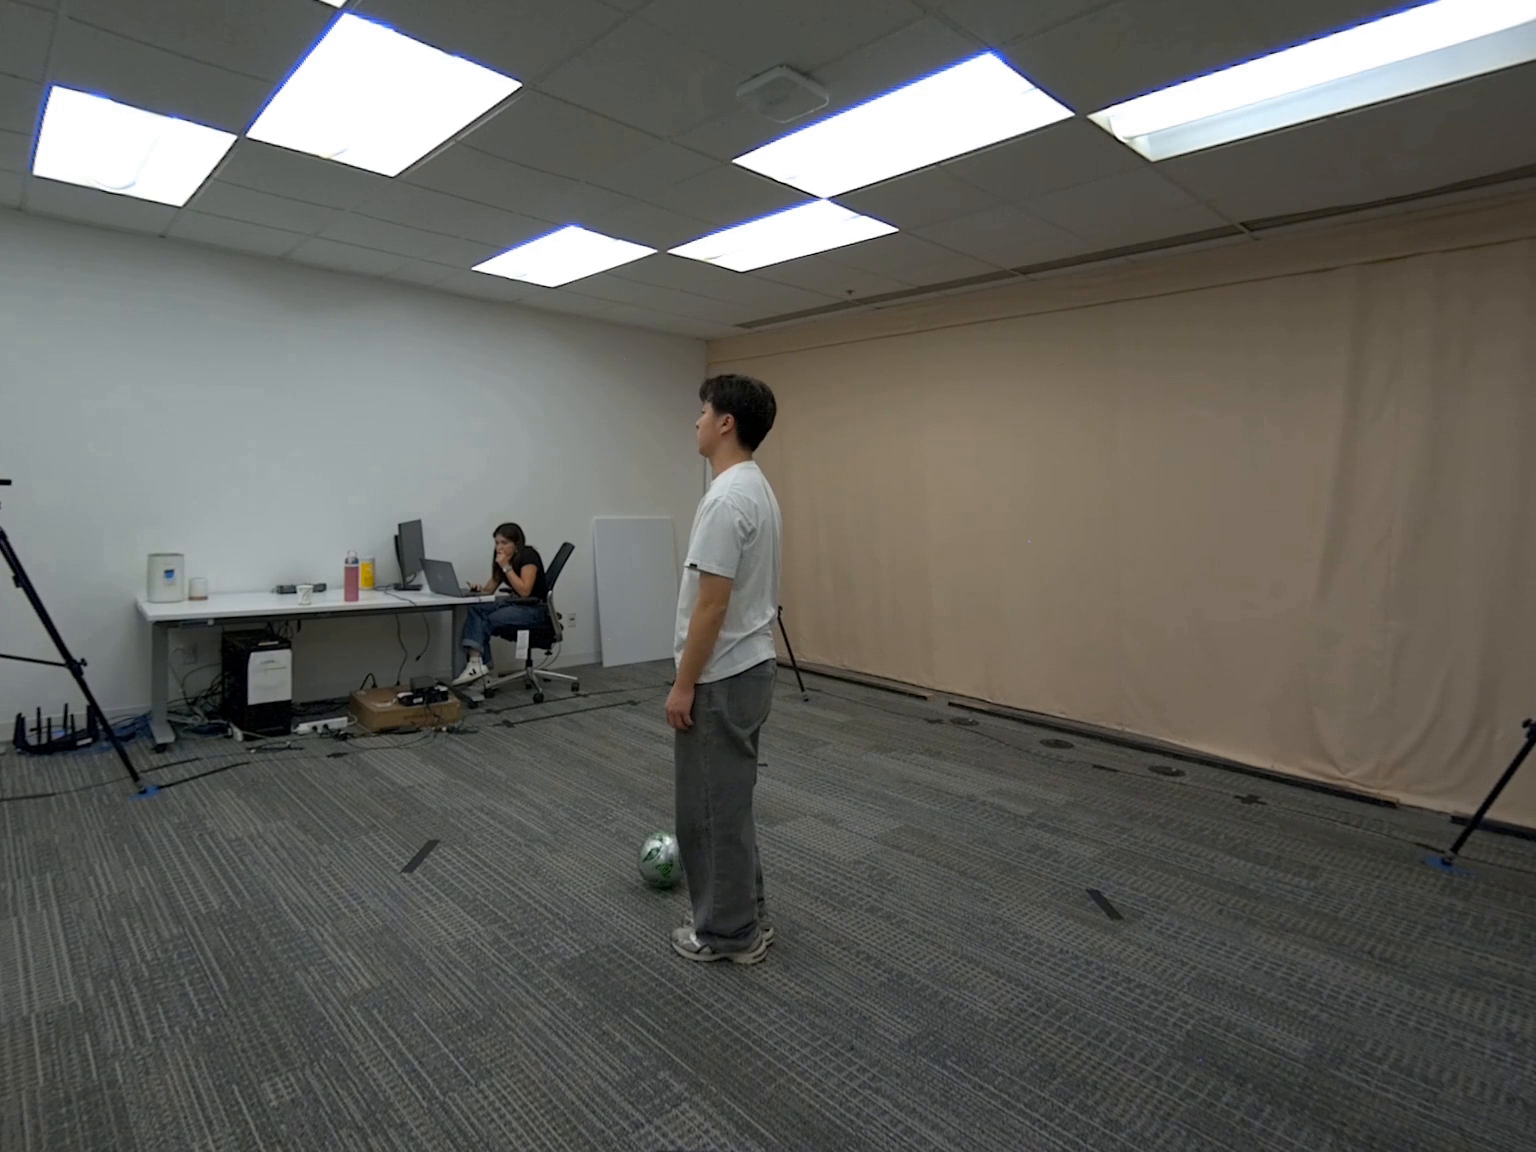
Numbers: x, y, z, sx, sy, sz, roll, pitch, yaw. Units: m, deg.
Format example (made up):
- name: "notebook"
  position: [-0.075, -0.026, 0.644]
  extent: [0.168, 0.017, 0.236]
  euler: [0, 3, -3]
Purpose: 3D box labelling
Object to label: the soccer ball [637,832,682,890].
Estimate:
- name: "soccer ball"
  position: [-0.382, 1.018, 3.015]
  extent: [0.187, 0.187, 0.188]
  euler: [1, 4, -1]
